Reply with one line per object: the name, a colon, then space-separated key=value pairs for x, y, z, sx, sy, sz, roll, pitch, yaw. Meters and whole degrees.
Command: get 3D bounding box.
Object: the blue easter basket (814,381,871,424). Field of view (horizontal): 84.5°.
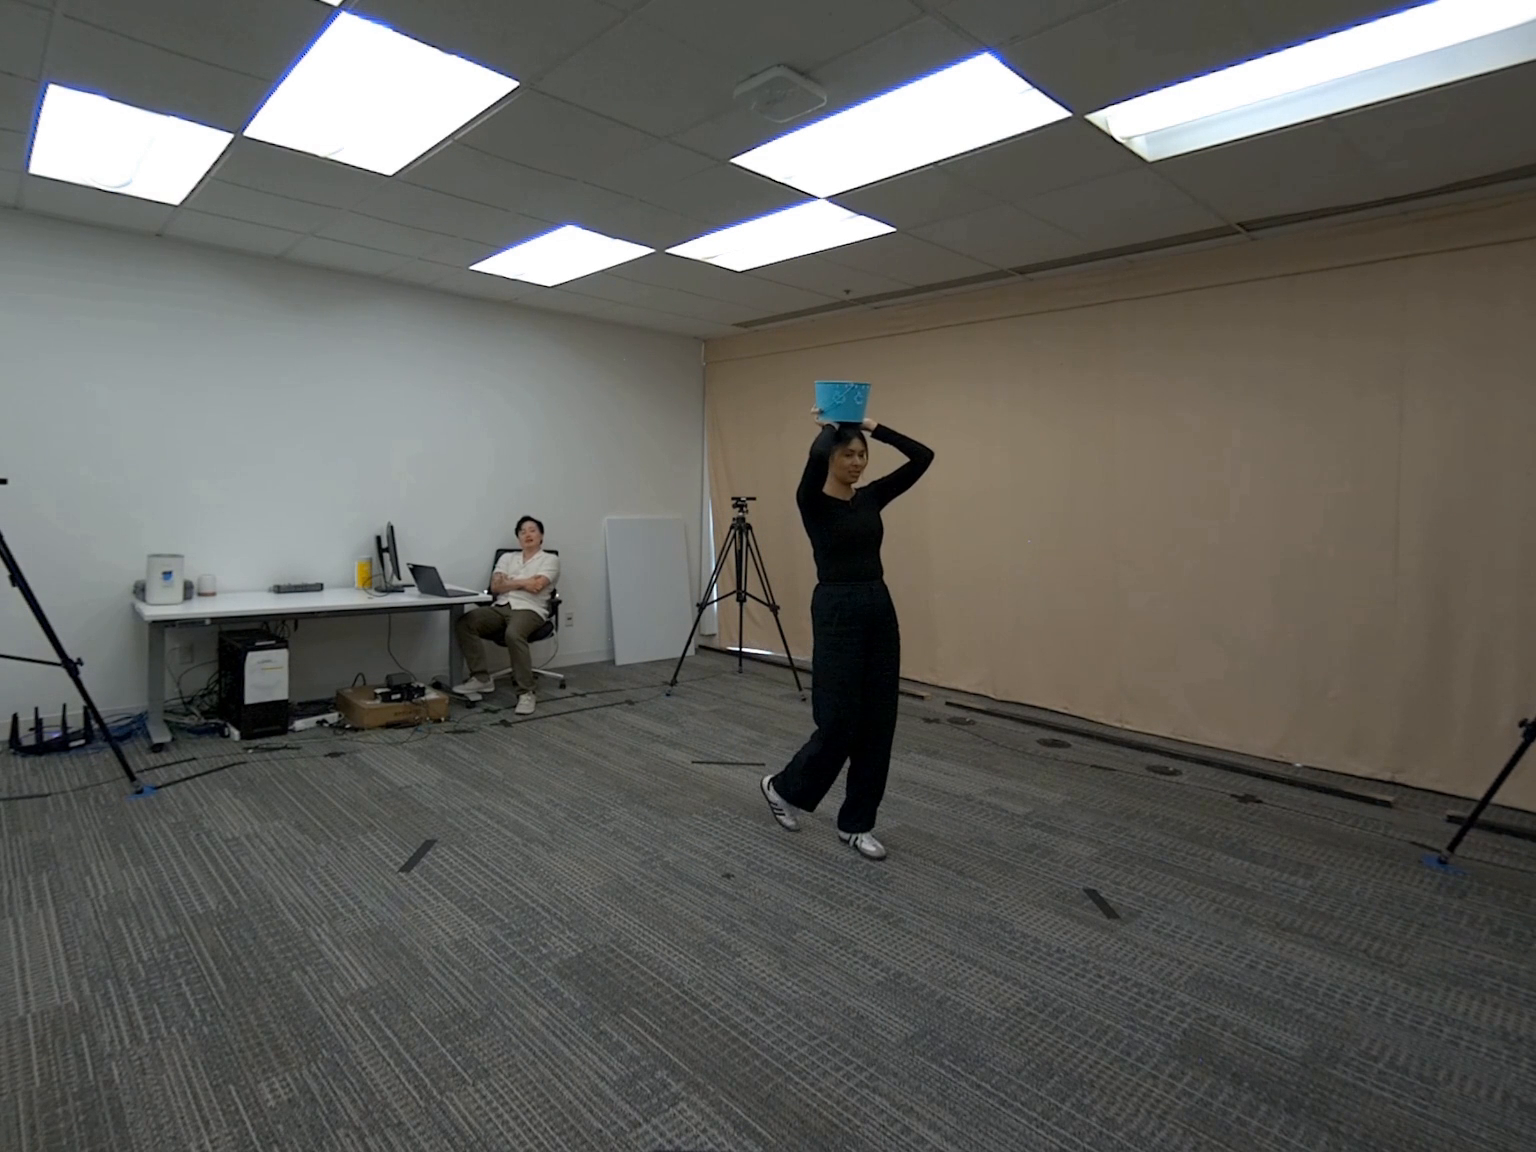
blue easter basket: x=0.282 y=-0.692 z=3.361 sx=0.243 sy=0.155 sz=0.245 roll=4 pitch=9 yaw=-2
